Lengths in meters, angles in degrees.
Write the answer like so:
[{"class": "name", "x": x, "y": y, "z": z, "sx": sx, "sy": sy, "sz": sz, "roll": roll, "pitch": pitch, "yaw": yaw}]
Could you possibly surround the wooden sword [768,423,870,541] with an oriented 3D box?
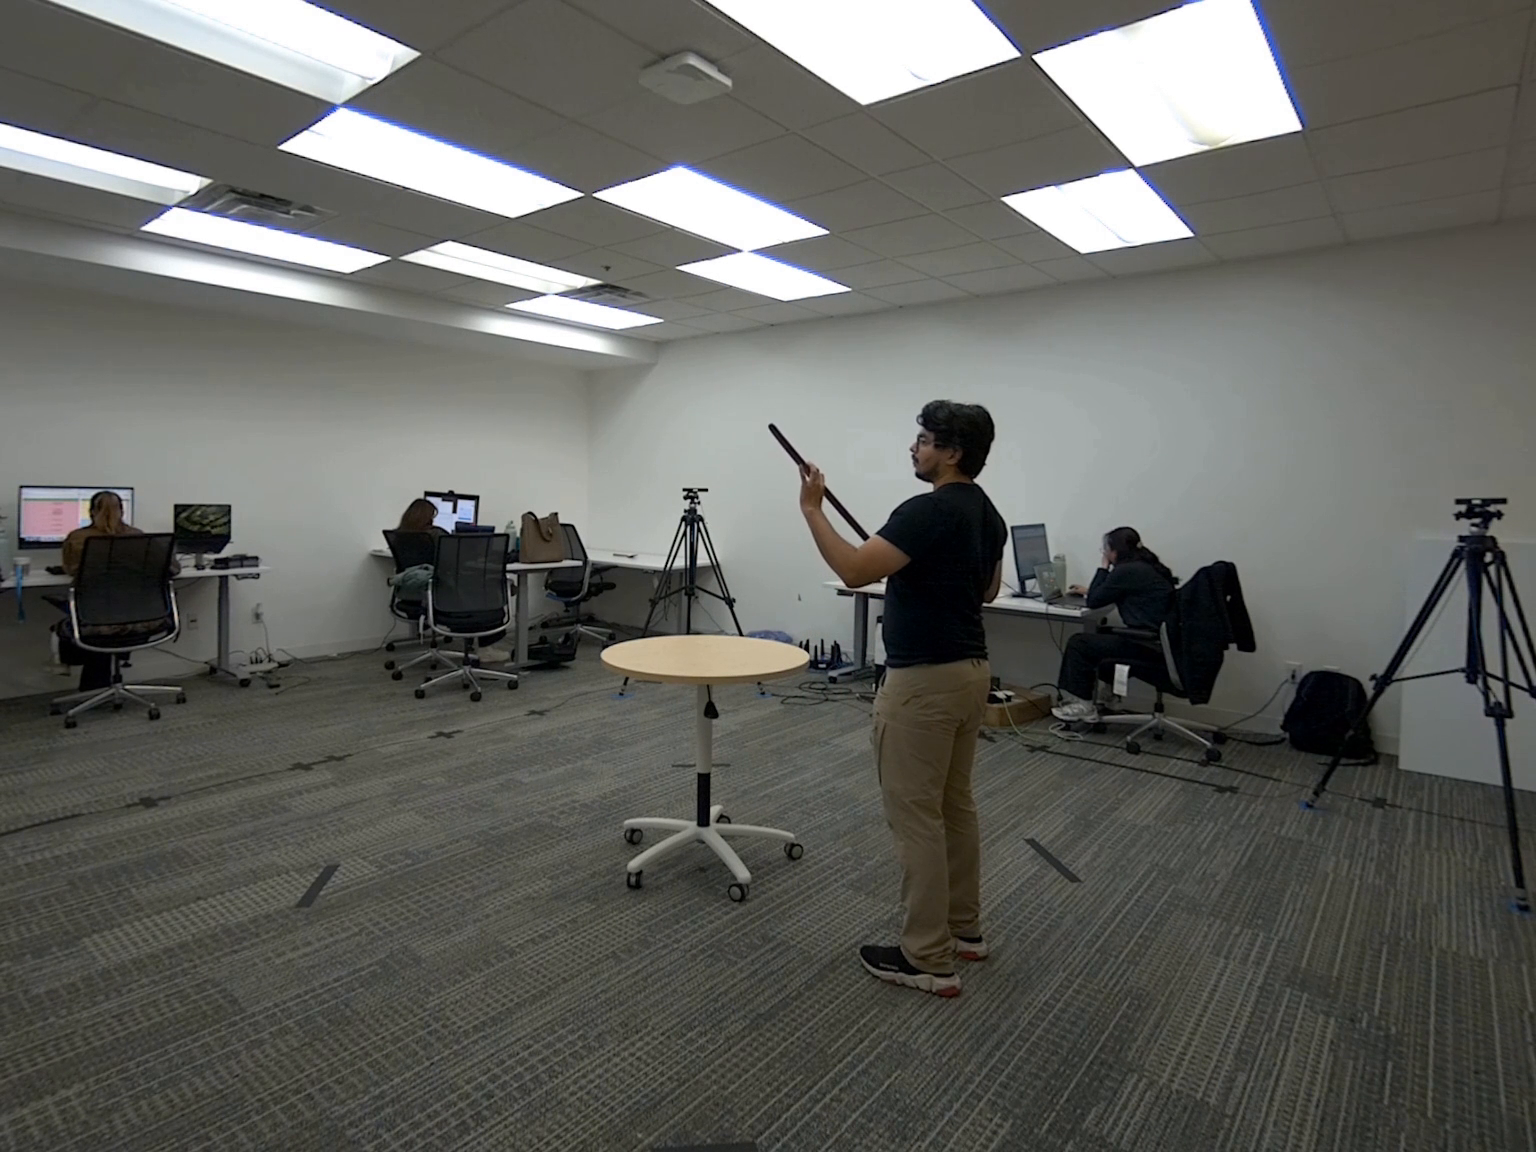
[{"class": "wooden sword", "x": 0.242, "y": -0.181, "z": 2.753, "sx": 0.053, "sy": 0.024, "sz": 0.982, "roll": 31, "pitch": -9, "yaw": 46}]
